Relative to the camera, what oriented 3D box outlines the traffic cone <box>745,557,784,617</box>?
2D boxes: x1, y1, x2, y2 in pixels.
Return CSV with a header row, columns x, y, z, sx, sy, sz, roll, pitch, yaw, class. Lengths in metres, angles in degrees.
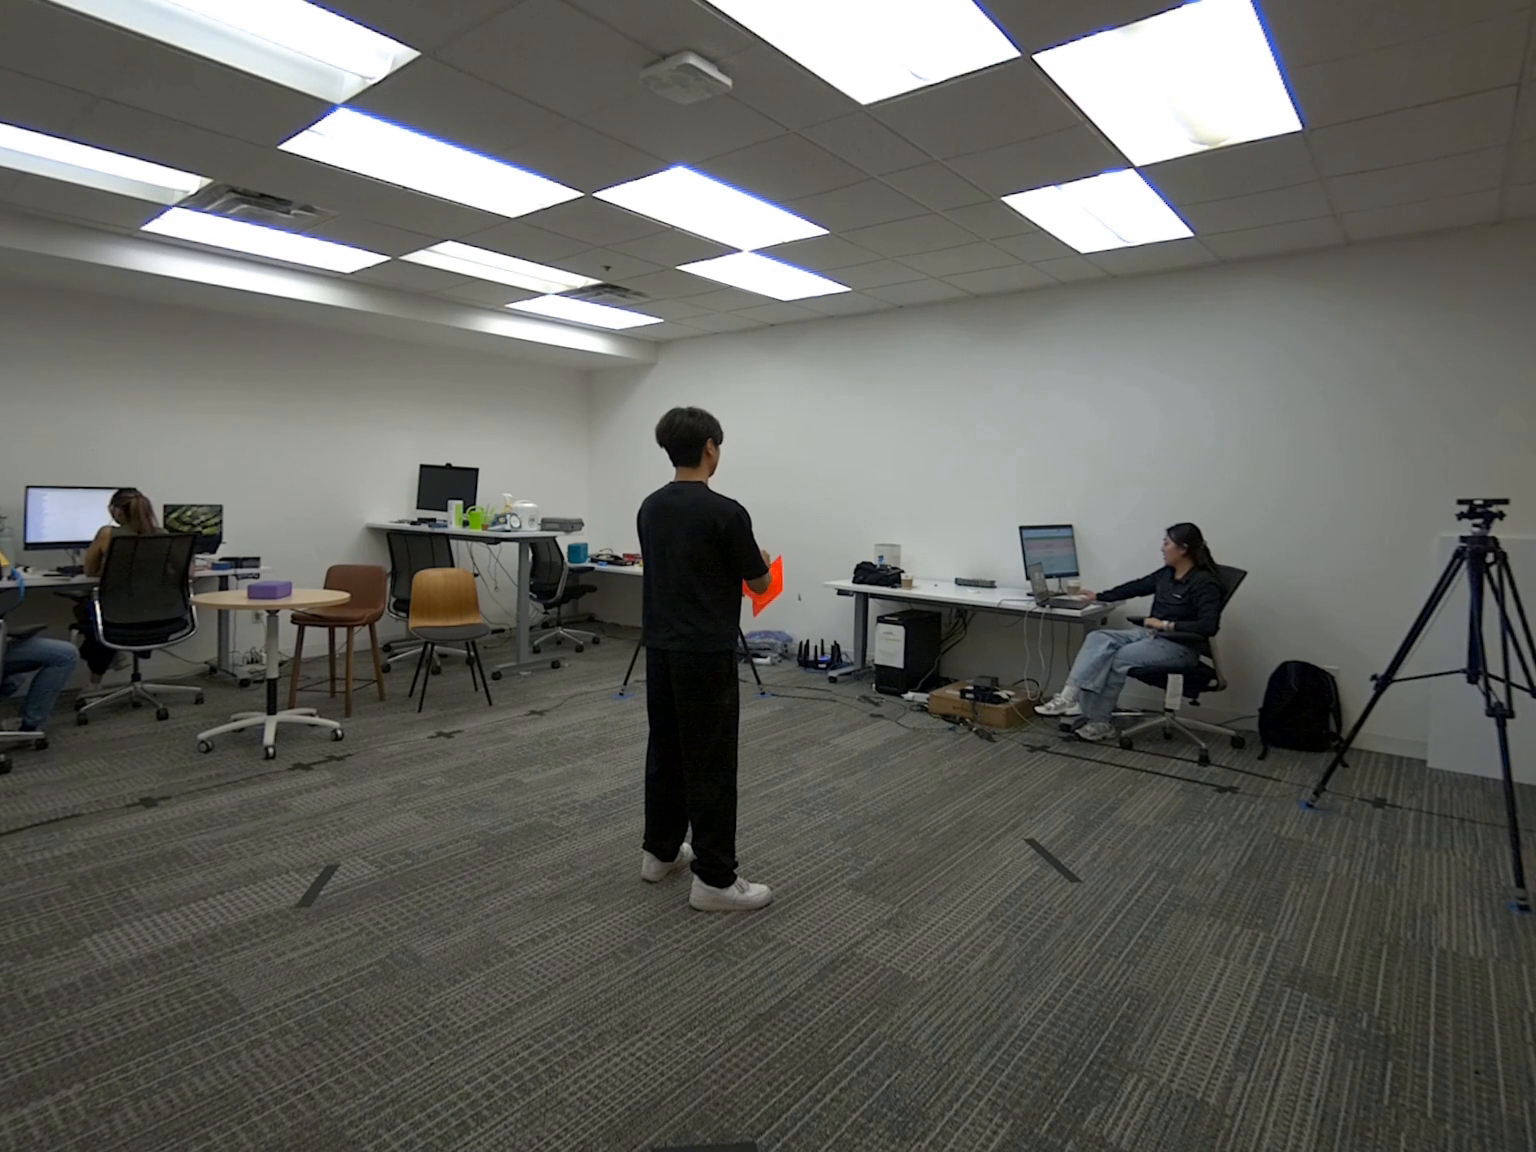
x,y,z,sx,sy,sz,roll,pitch,yaw,class
-0.163,-0.029,3.465,0.398,0.199,0.202,26,46,32,traffic cone
